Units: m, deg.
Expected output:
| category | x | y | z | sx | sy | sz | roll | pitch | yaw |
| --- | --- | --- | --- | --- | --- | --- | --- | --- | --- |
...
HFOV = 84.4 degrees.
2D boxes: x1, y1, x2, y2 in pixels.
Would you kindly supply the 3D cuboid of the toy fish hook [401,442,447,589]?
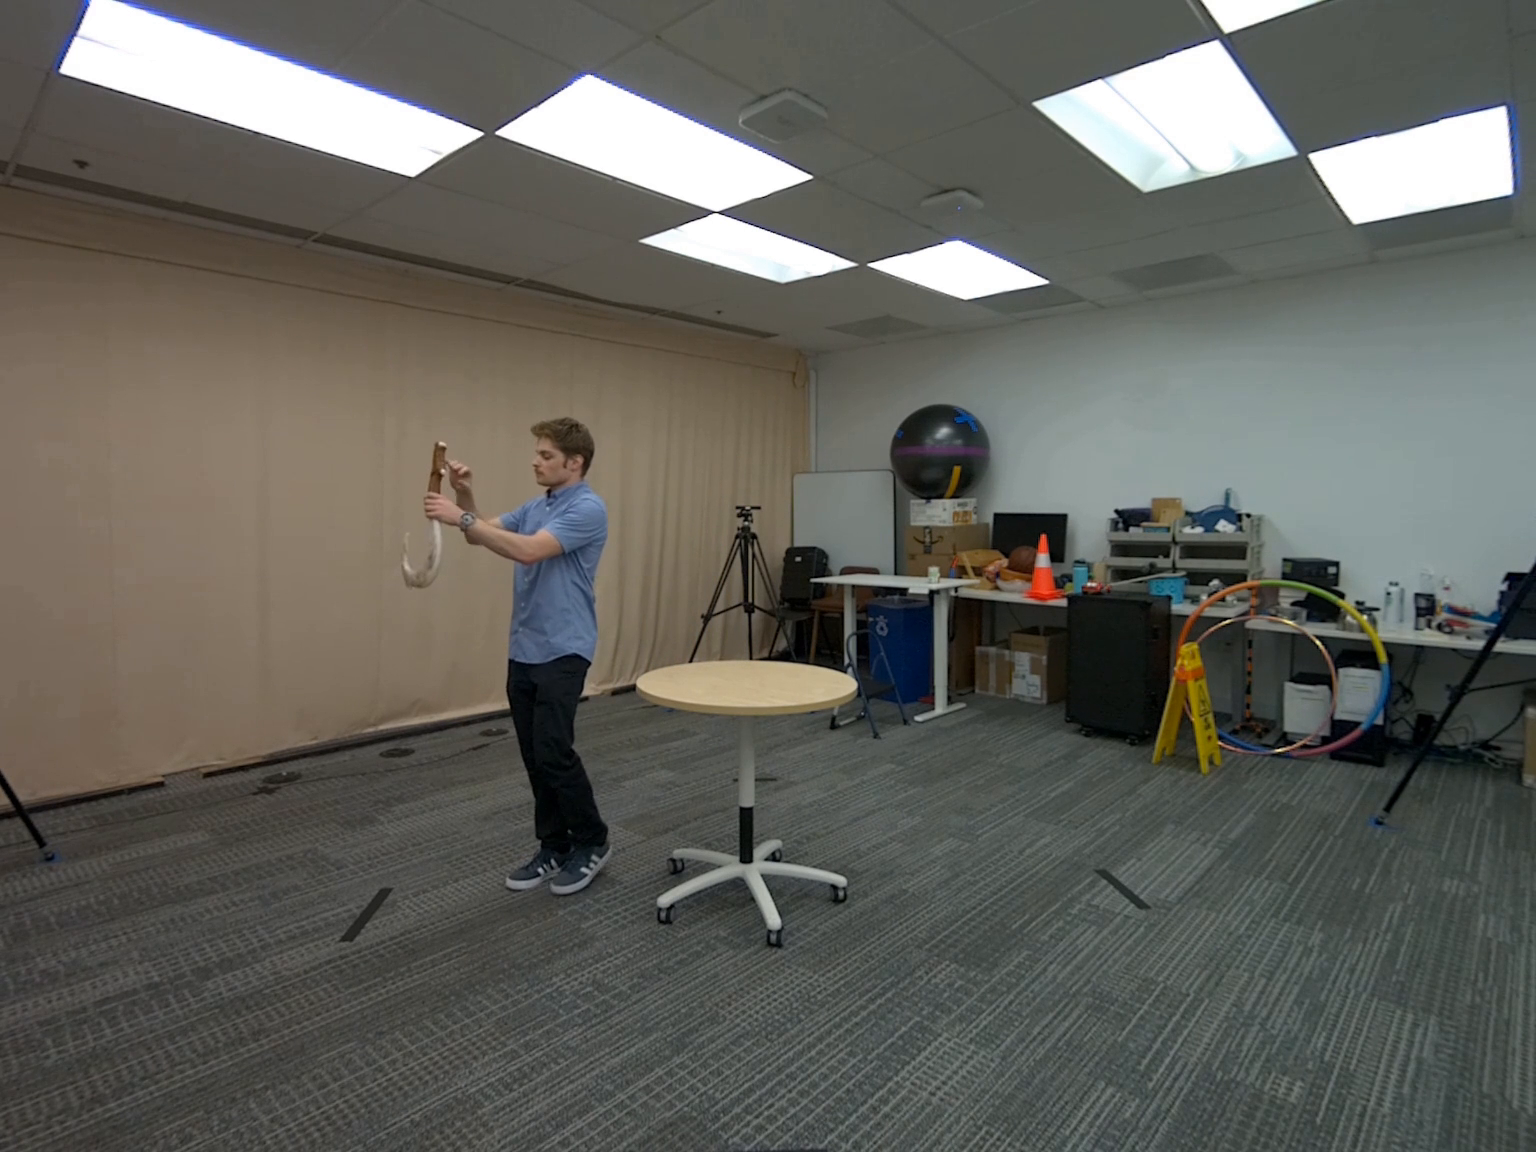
| category | x | y | z | sx | sy | sz | roll | pitch | yaw |
| --- | --- | --- | --- | --- | --- | --- | --- | --- | --- |
| toy fish hook | -1.175 | -0.212 | 2.887 | 0.231 | 0.509 | 0.047 | -5 | -11 | 33 |
